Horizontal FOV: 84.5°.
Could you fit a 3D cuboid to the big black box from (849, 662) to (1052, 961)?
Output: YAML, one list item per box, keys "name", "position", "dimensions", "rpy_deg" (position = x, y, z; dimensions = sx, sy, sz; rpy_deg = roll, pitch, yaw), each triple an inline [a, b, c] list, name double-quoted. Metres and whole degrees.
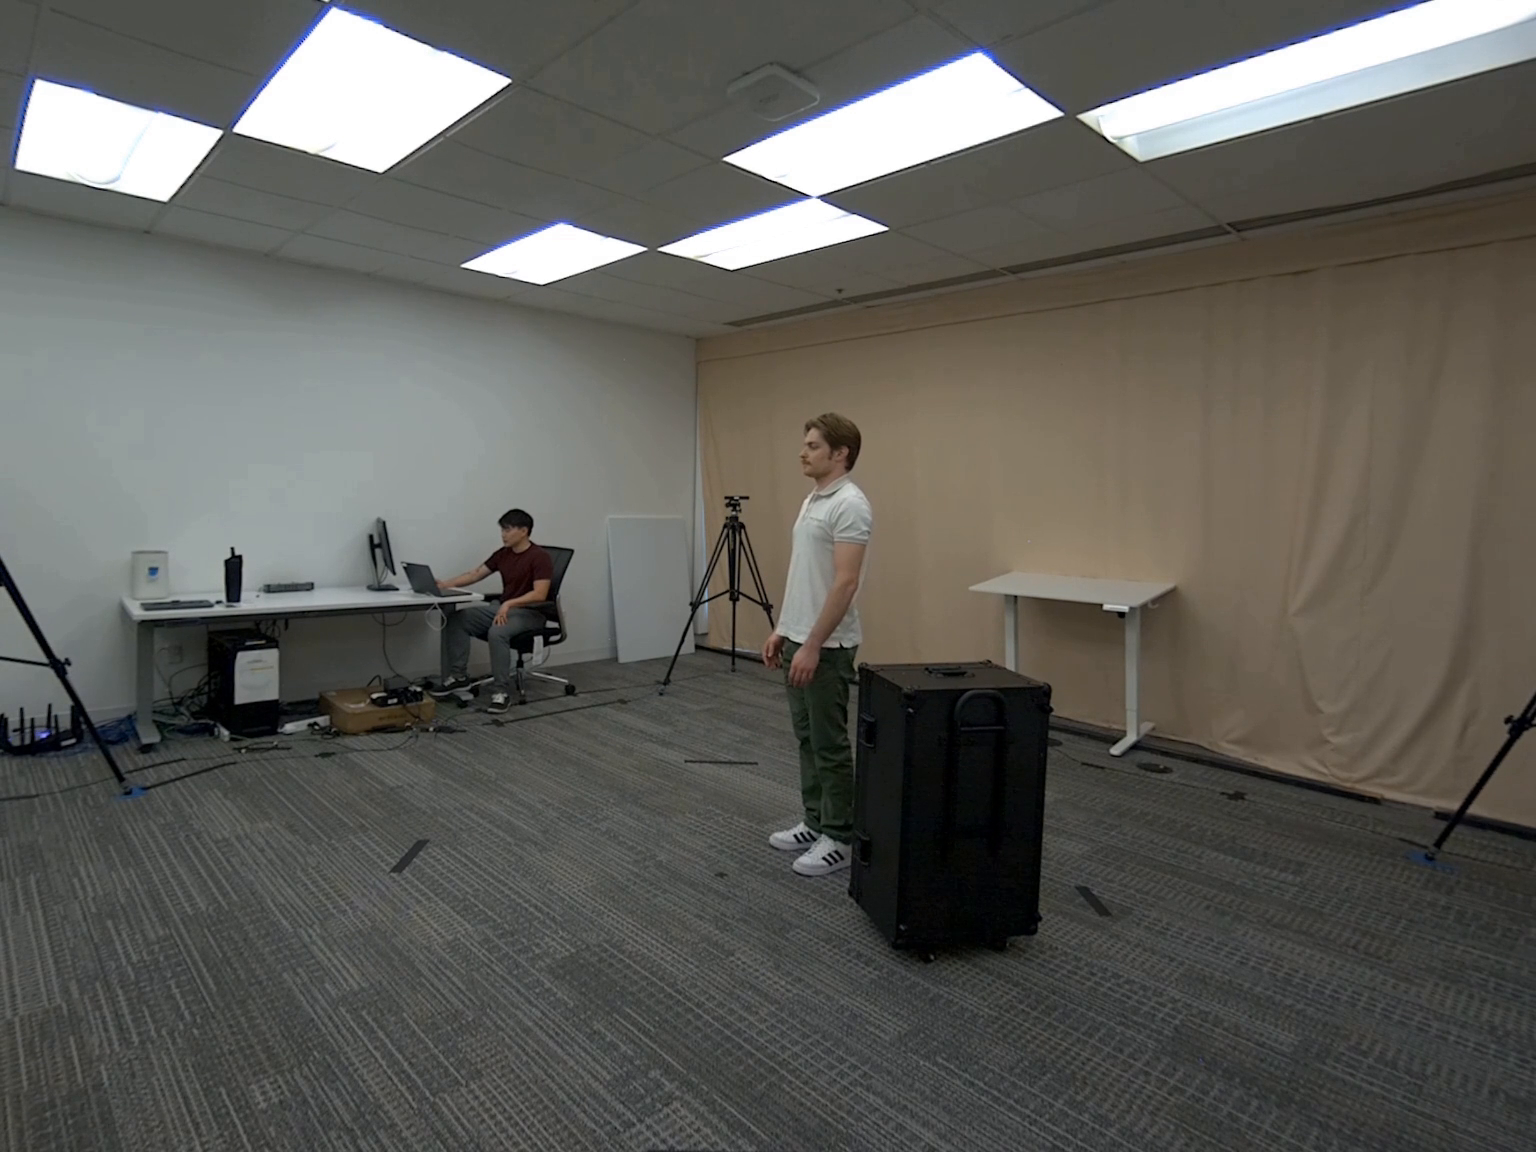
- name: "big black box"
  position: [0.577, 0.744, 2.674]
  dimensions: [0.516, 0.866, 0.391]
  rpy_deg: [1, 4, -17]
